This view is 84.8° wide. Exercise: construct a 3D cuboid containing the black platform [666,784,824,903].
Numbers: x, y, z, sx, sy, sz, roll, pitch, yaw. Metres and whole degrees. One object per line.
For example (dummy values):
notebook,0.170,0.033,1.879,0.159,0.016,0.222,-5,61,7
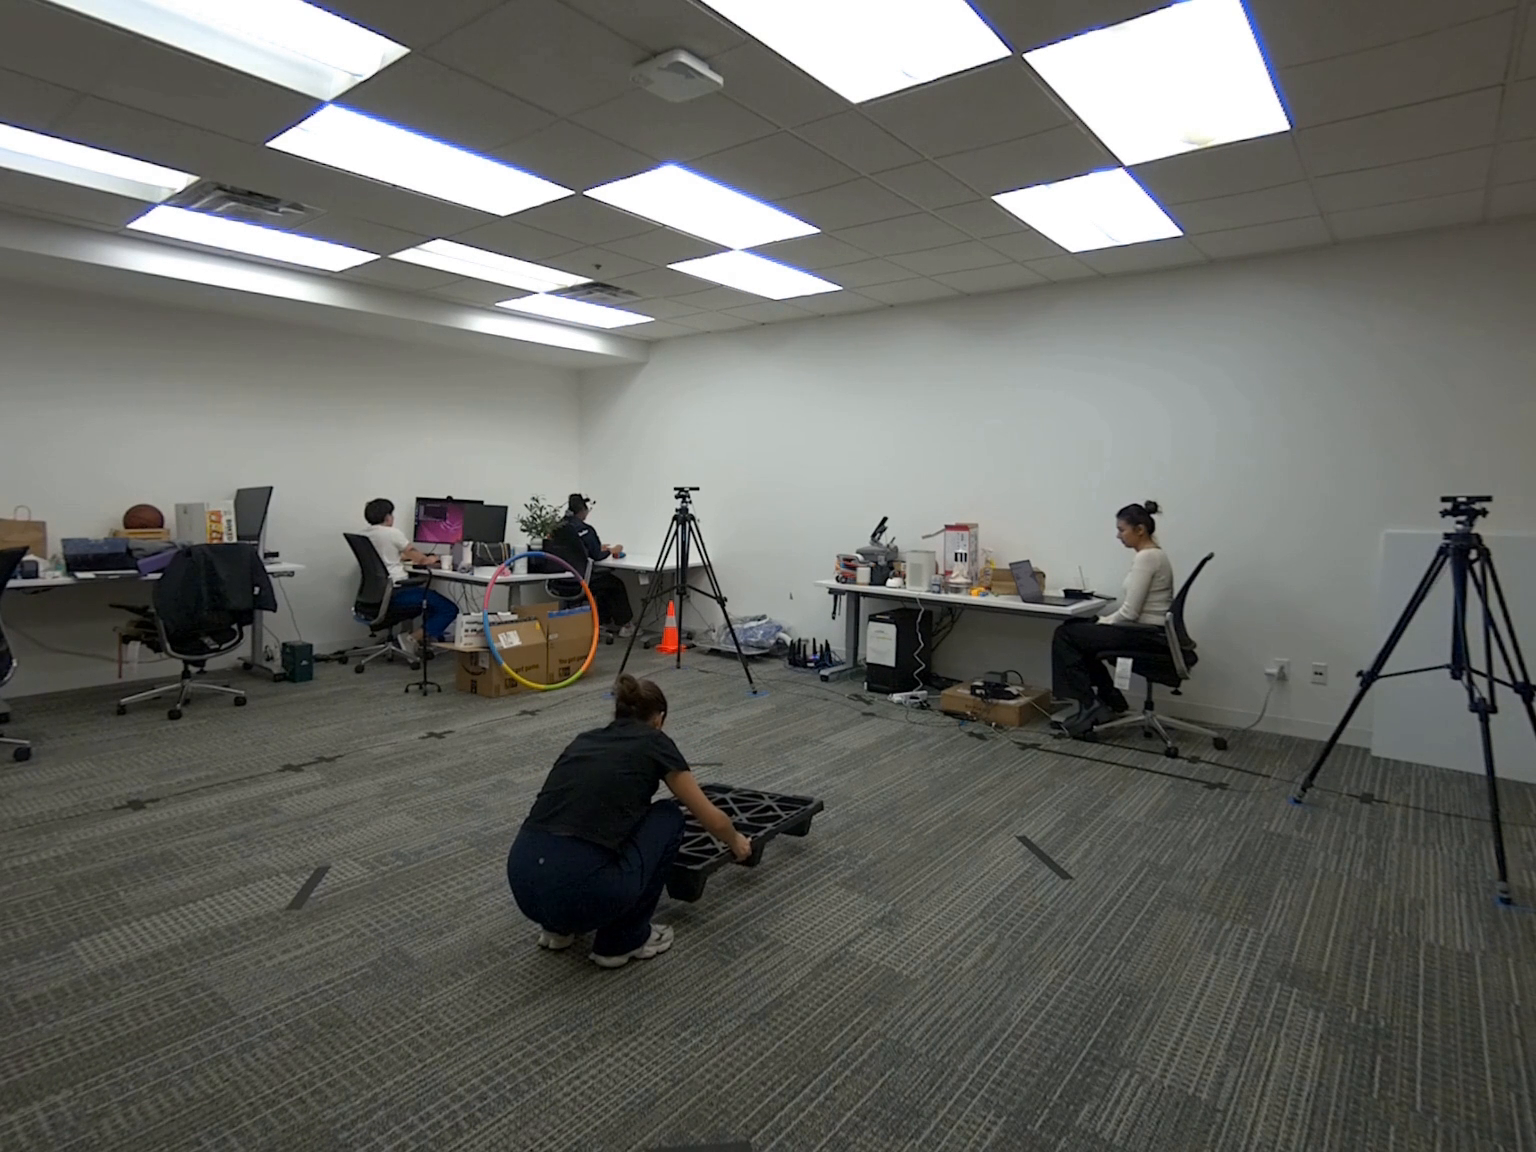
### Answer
black platform,-0.213,0.970,3.190,0.623,0.143,0.783,-1,4,36
